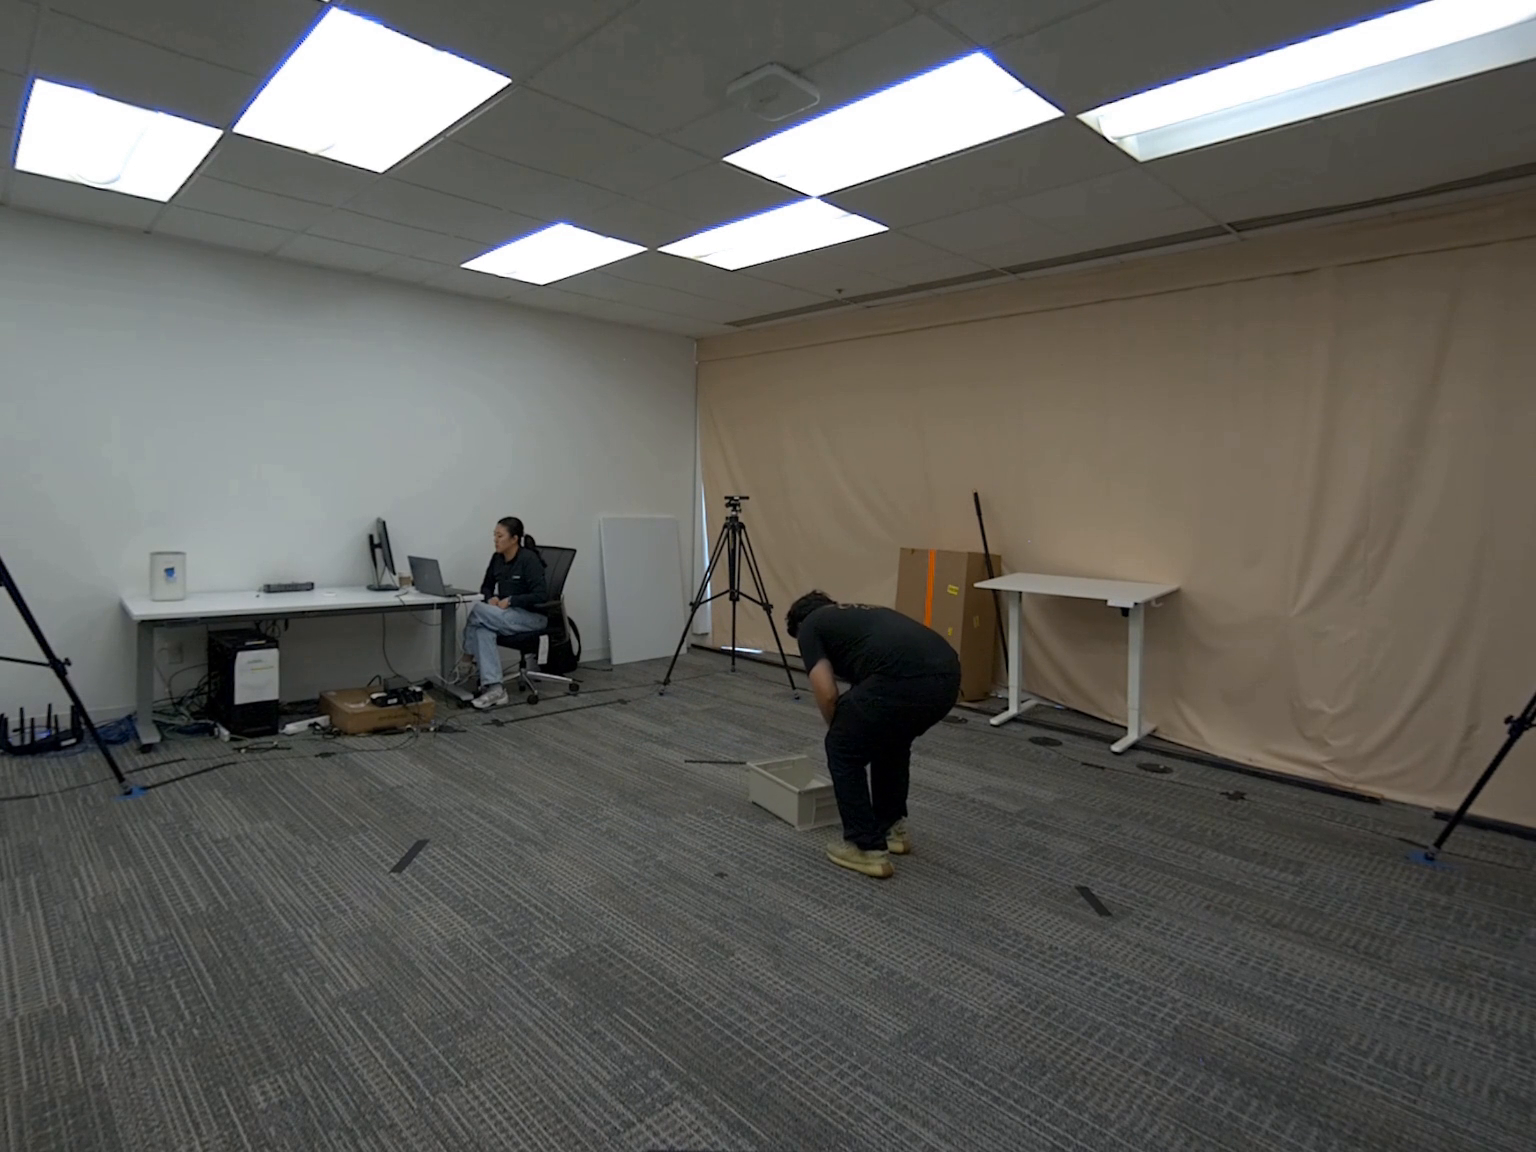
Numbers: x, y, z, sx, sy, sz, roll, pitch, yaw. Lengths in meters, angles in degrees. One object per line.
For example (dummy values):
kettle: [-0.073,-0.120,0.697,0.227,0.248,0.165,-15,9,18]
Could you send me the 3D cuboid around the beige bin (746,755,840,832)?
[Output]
beige bin: [0.160,0.960,3.793,0.370,0.188,0.432,-3,7,-31]
